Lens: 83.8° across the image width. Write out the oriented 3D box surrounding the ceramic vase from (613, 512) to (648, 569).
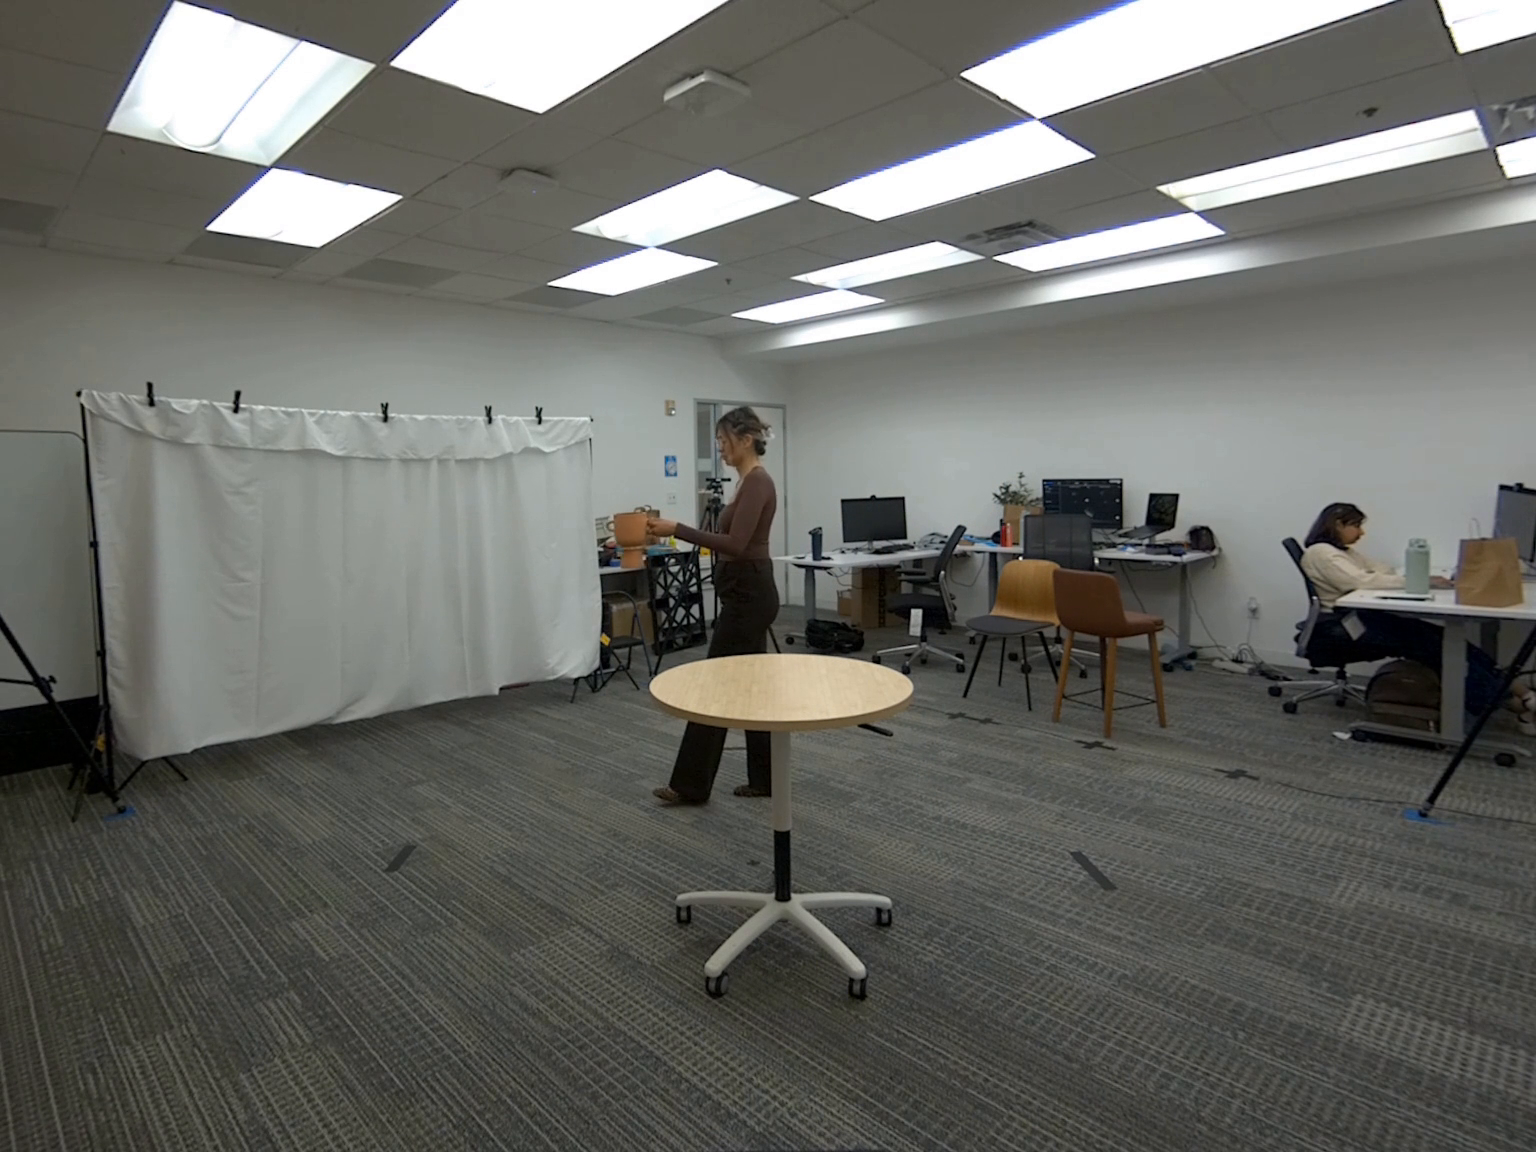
[{"bbox_3d":[-0.547,-0.145,3.460,0.163,0.219,0.131,1,7,39],"label":"ceramic vase"}]
